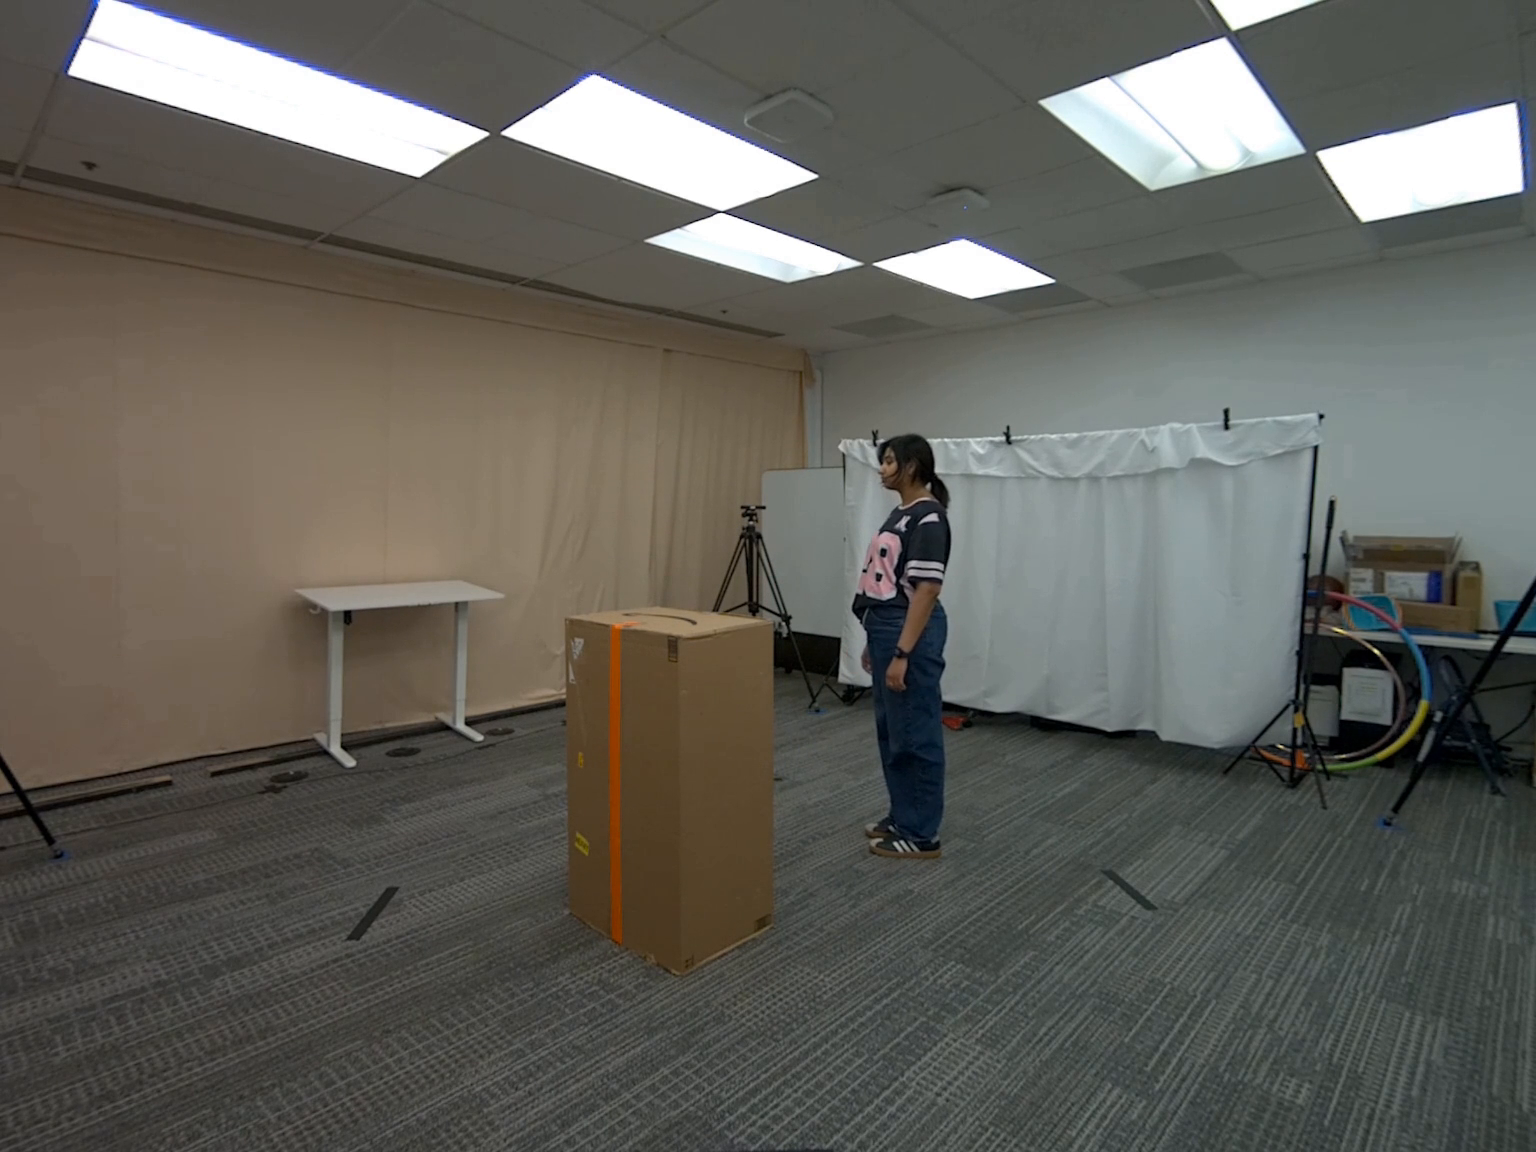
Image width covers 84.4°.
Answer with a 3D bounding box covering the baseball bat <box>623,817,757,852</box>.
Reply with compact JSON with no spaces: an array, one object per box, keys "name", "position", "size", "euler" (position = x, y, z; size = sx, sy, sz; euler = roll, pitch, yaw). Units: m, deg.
[{"name":"baseball bat","position":[-0.326,1.068,3.514],"size":[0.538,0.089,0.090],"euler":[0,4,-8]}]
